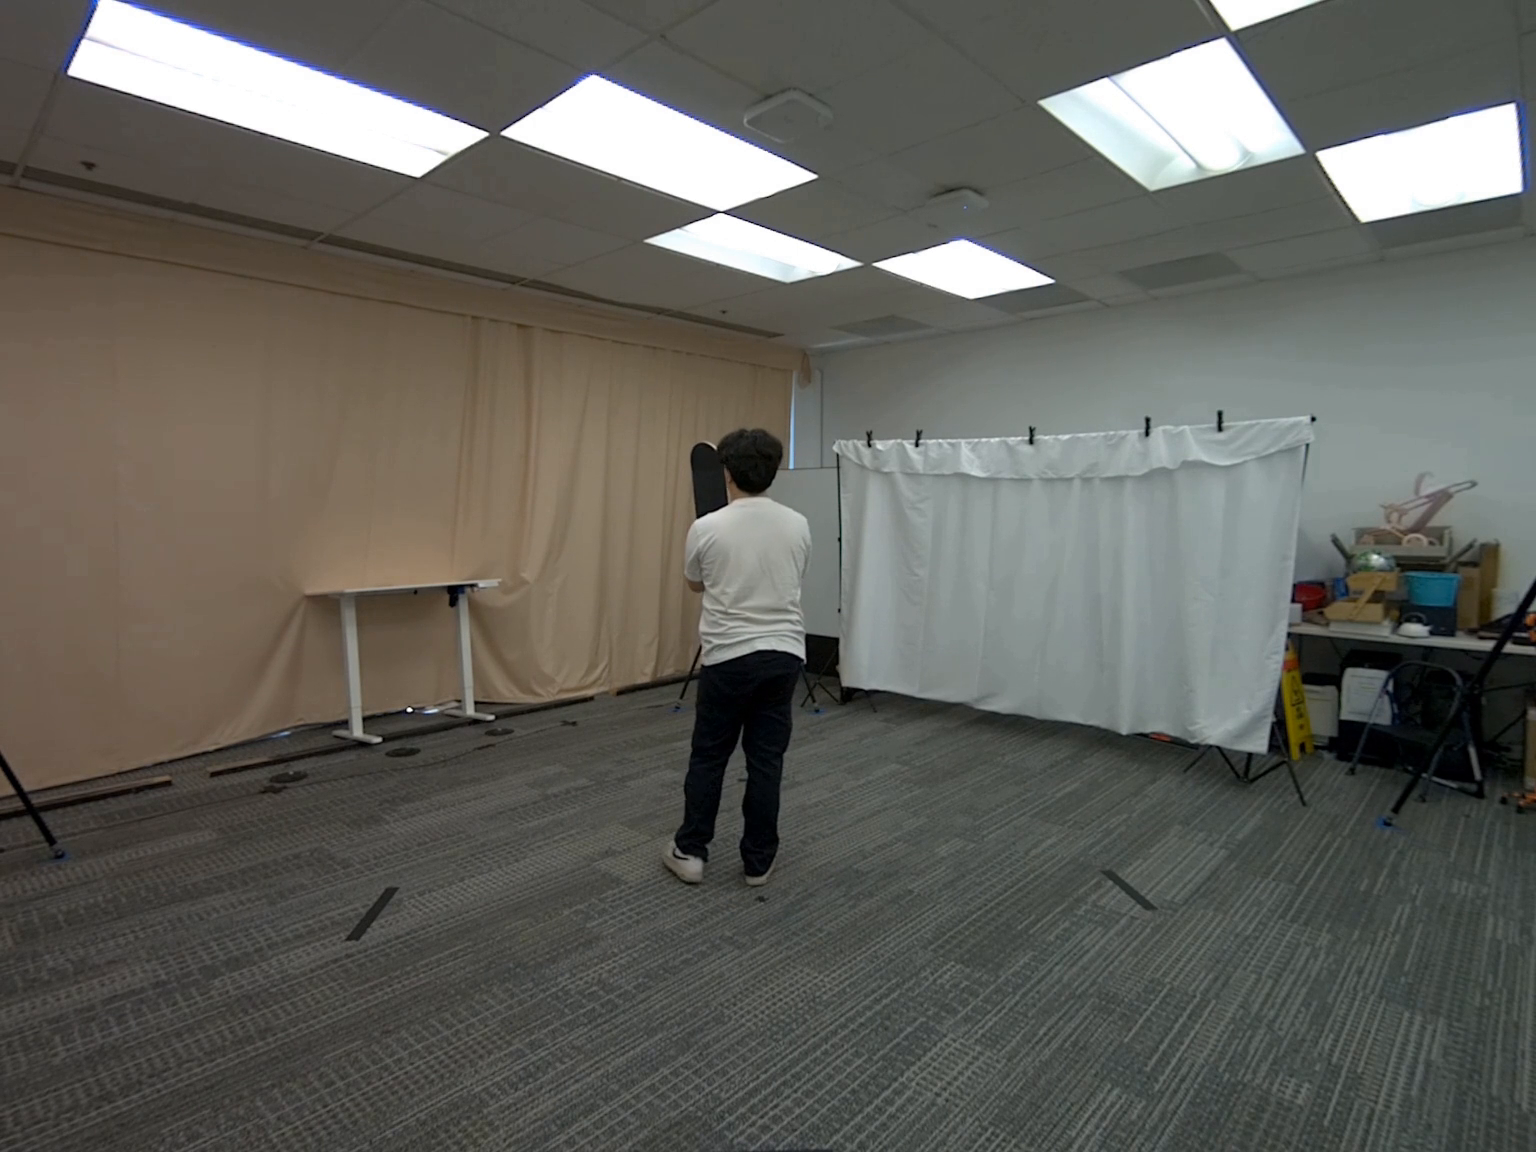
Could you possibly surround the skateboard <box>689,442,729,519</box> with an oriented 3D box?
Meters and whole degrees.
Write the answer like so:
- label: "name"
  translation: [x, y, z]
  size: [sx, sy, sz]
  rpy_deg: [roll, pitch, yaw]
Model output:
- label: "skateboard"
  translation: [-0.188, -0.157, 3.457]
  size: [0.199, 0.782, 0.107]
  rpy_deg: [-2, 6, 42]
